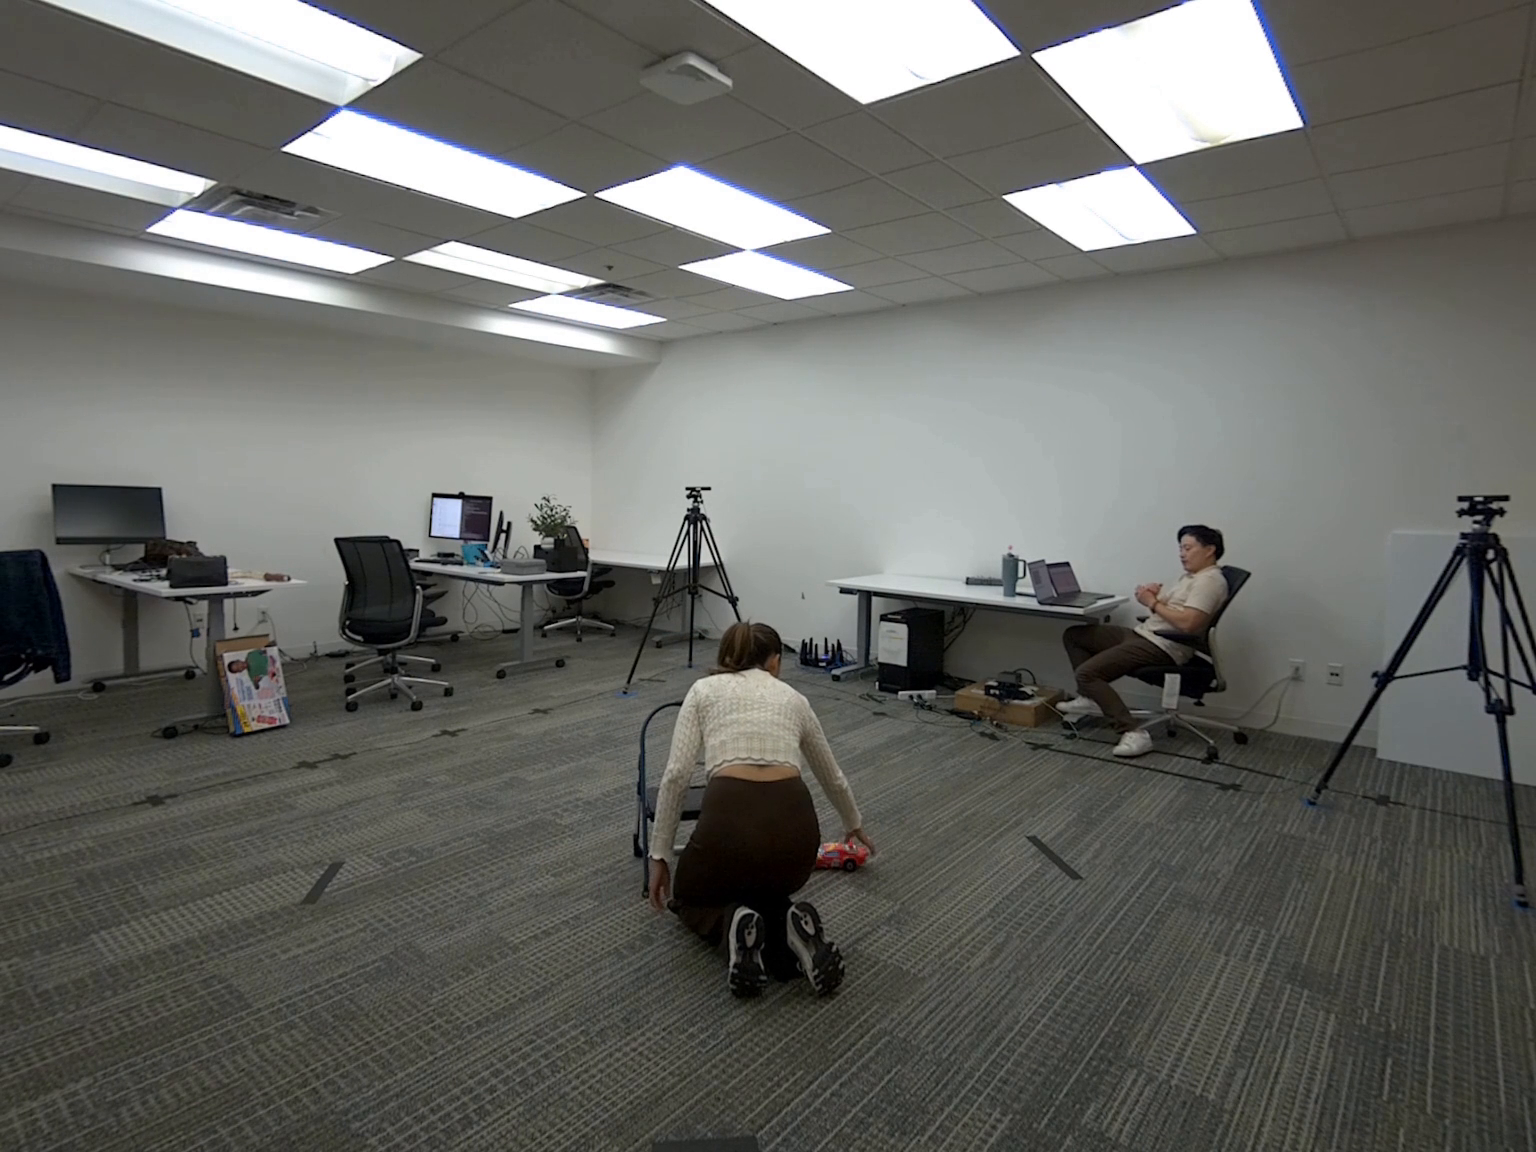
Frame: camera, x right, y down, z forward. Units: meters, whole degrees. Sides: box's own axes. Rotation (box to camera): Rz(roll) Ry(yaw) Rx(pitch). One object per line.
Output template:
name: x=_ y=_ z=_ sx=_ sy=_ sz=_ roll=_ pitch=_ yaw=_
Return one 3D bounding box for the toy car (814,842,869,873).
toy car: x=0.238 y=1.040 z=3.147 sx=0.255 sy=0.083 sz=0.131 roll=-11 pitch=5 yaw=1
